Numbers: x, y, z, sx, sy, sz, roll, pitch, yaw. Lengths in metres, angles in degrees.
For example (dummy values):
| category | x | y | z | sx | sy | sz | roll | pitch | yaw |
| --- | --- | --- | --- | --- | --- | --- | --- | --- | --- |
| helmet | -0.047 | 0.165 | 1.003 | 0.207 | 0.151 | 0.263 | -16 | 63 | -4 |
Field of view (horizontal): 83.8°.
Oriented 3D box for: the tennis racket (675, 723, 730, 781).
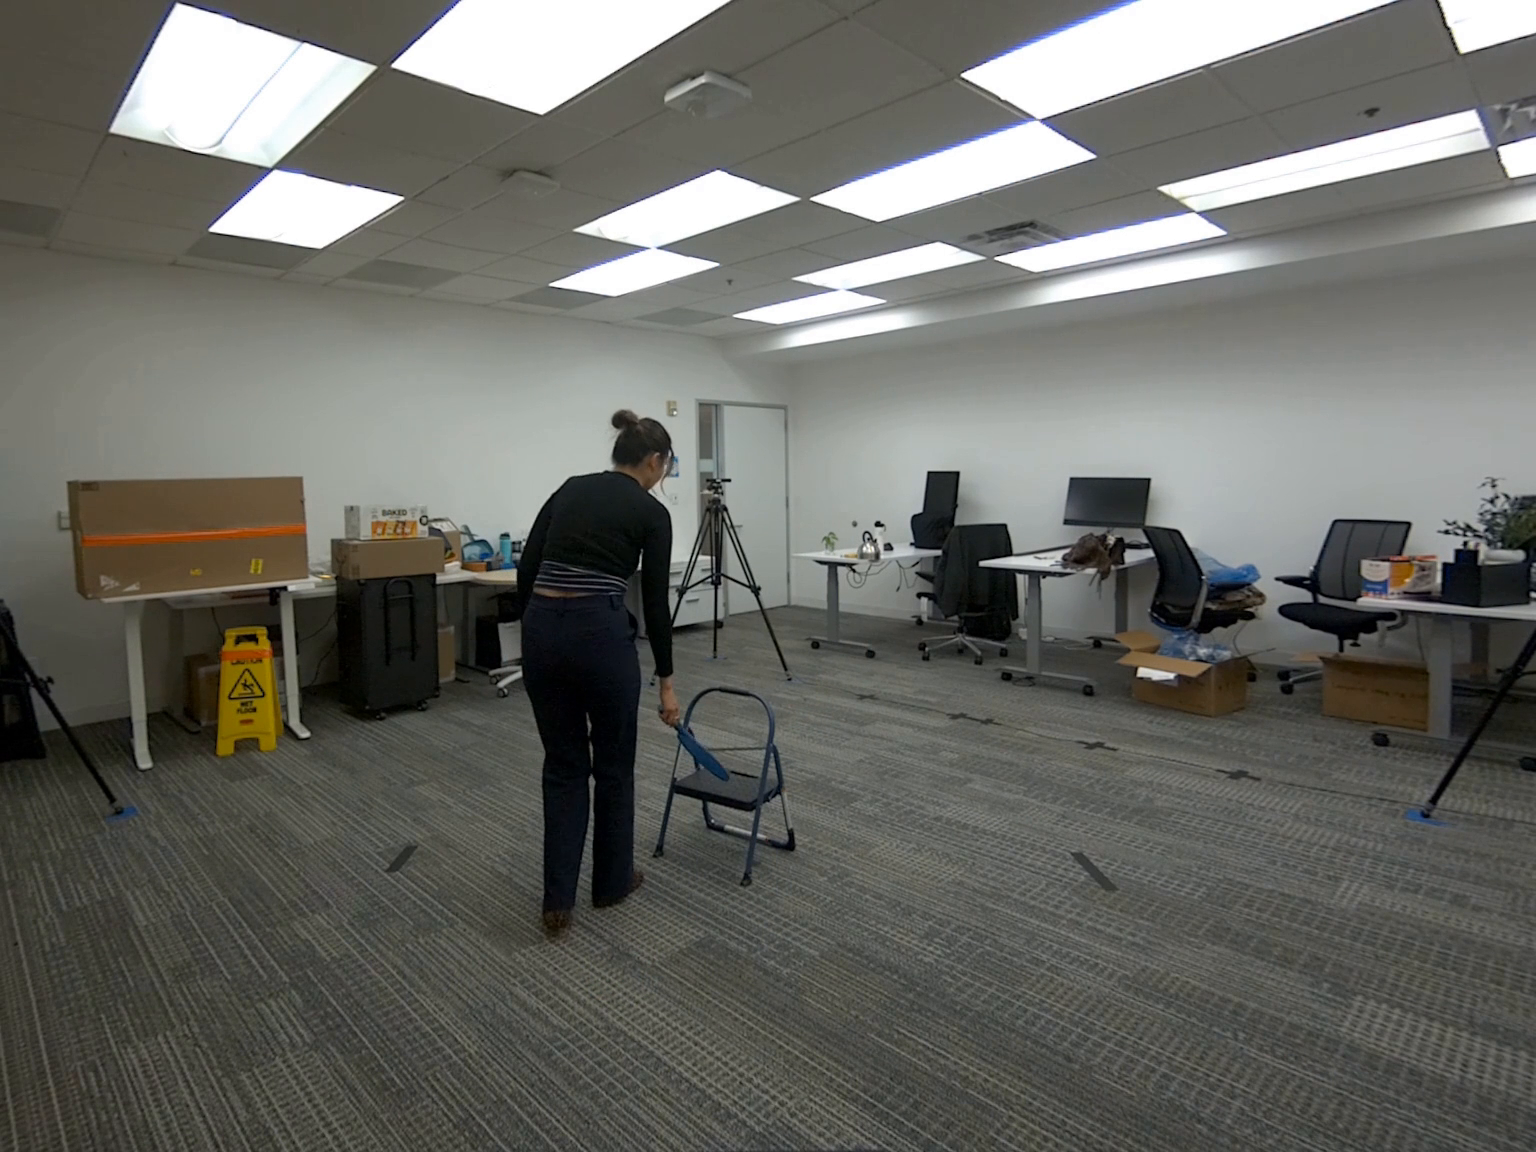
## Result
| category | x | y | z | sx | sy | sz | roll | pitch | yaw |
| --- | --- | --- | --- | --- | --- | --- | --- | --- | --- |
| tennis racket | -0.253 | 0.579 | 2.956 | 0.221 | 0.417 | 0.032 | 20 | 61 | 47 |
